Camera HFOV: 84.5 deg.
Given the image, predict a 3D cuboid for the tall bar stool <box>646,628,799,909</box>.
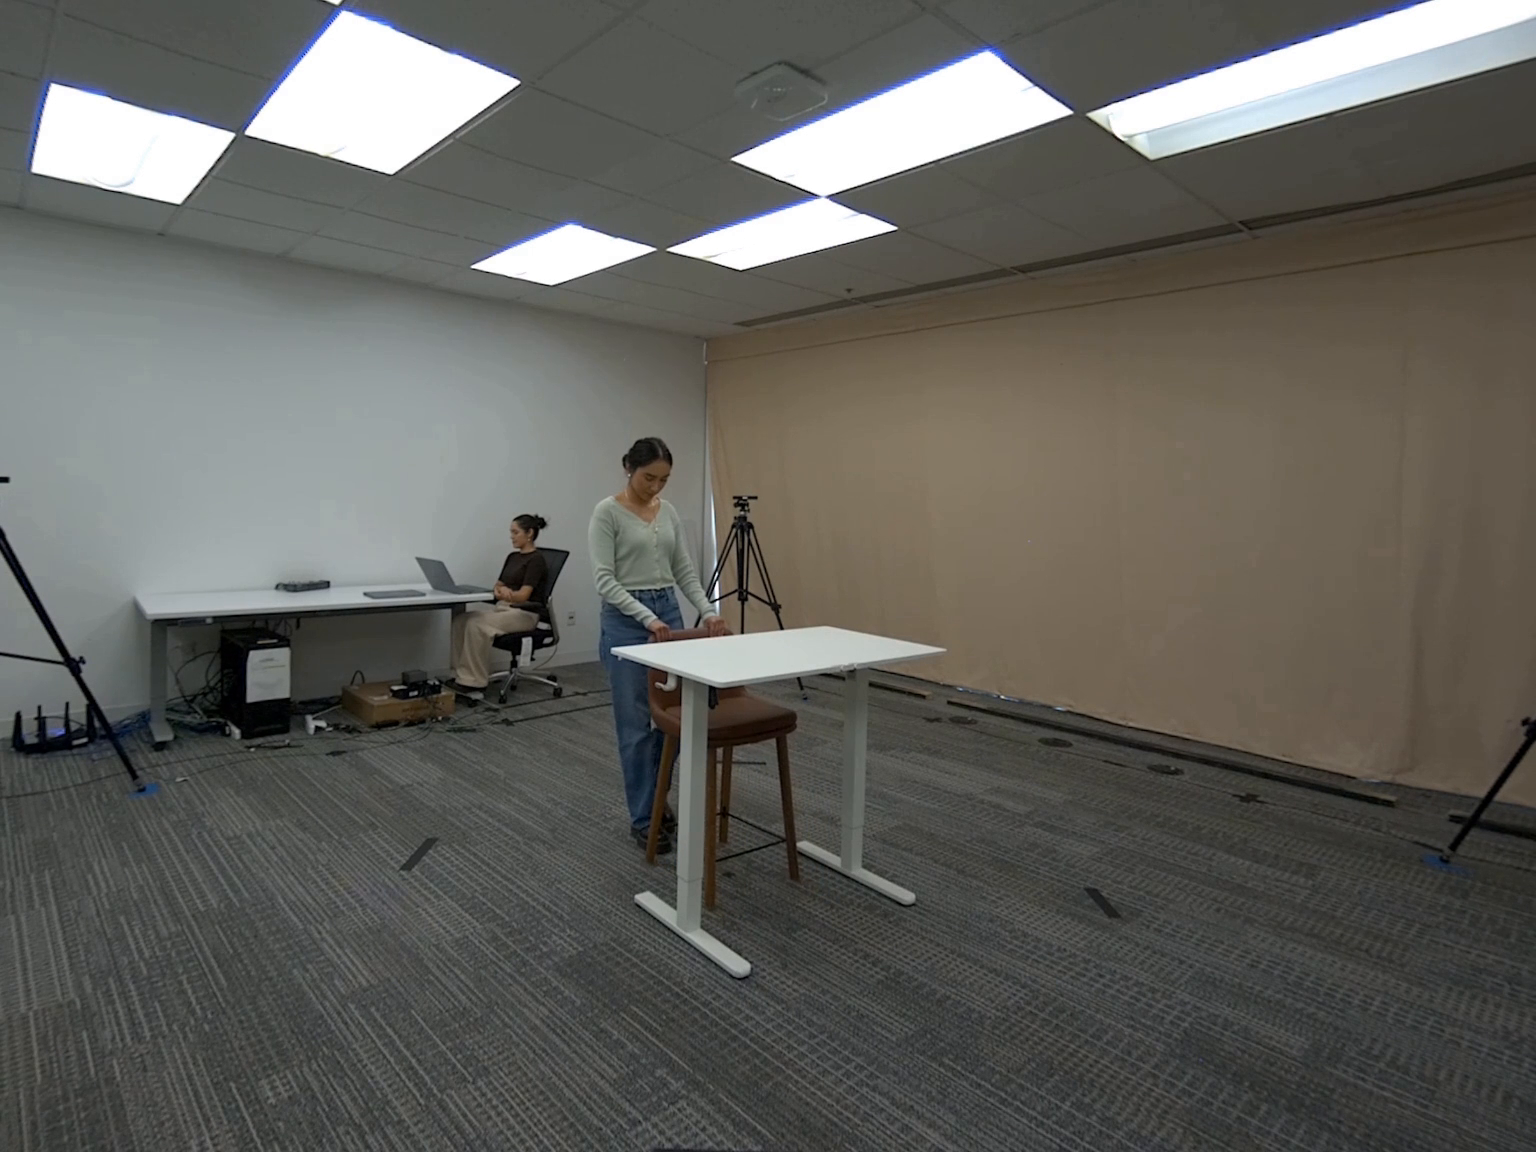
[{"bbox_3d":[-0.188,0.661,3.114,0.446,0.889,0.478,-2,2,-37],"label":"tall bar stool"}]
